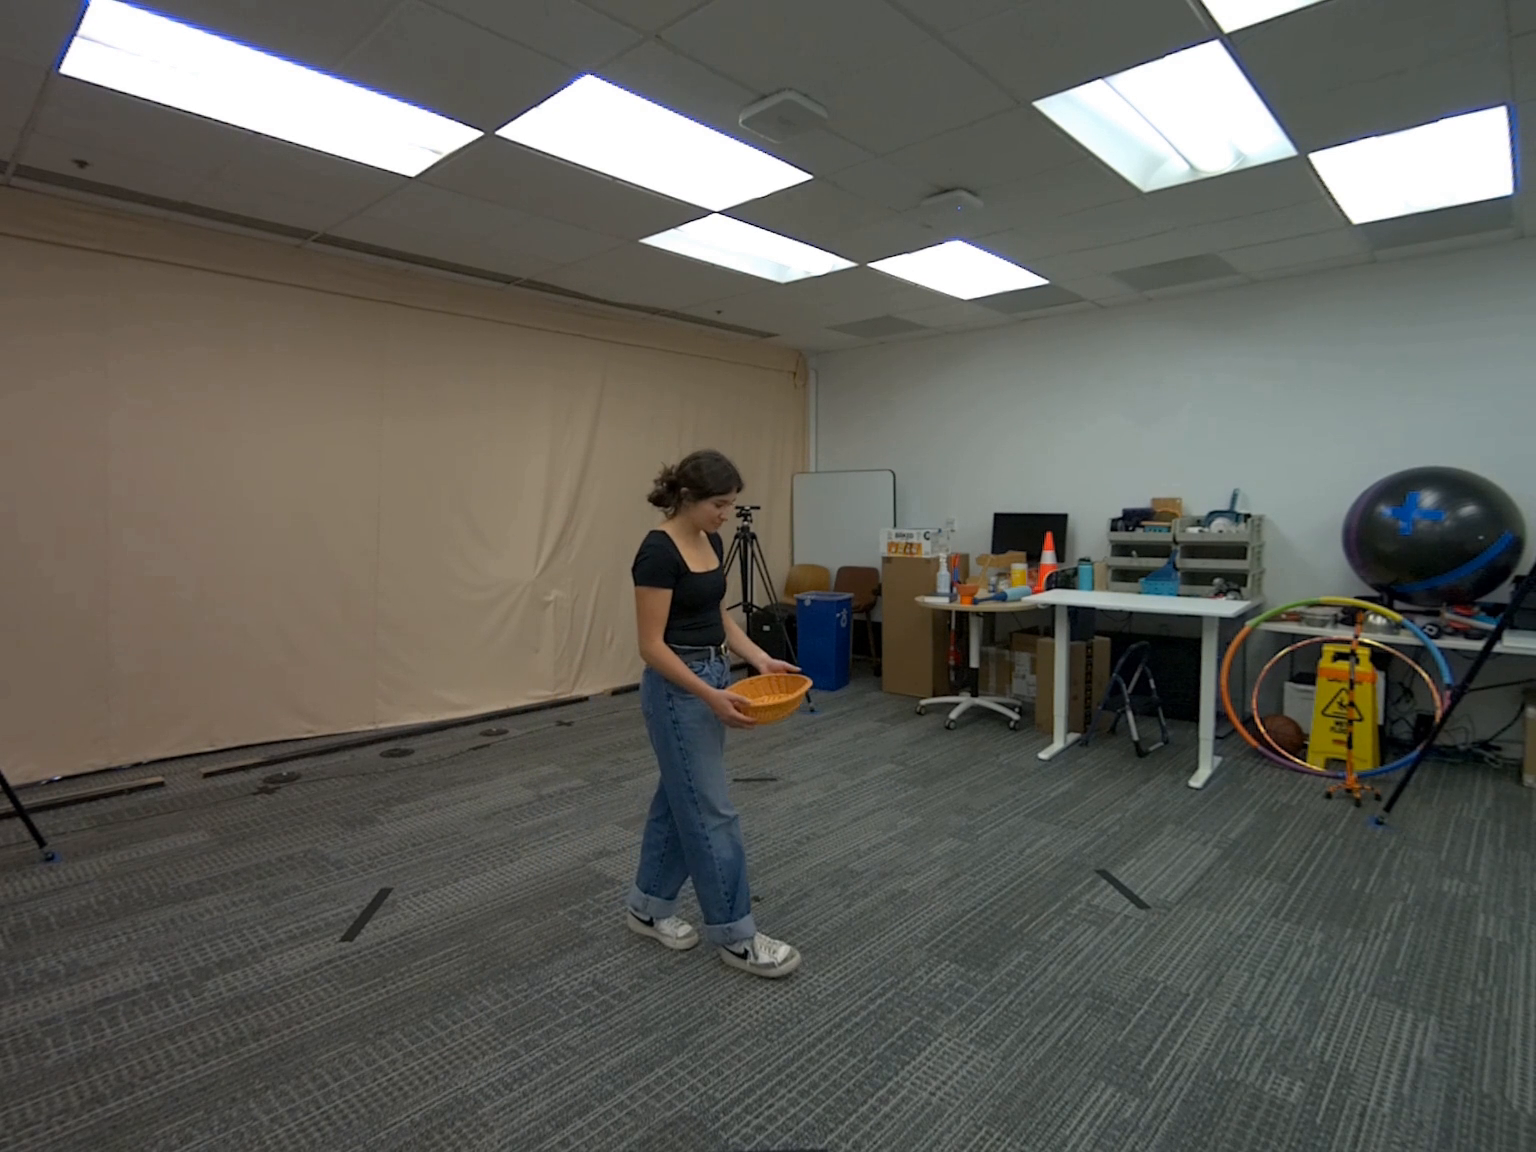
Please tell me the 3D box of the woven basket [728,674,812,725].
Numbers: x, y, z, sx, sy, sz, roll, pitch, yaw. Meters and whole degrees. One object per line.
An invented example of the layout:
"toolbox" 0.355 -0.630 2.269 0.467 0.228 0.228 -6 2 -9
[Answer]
"woven basket" -0.025 0.371 2.477 0.260 0.073 0.341 0 8 39
